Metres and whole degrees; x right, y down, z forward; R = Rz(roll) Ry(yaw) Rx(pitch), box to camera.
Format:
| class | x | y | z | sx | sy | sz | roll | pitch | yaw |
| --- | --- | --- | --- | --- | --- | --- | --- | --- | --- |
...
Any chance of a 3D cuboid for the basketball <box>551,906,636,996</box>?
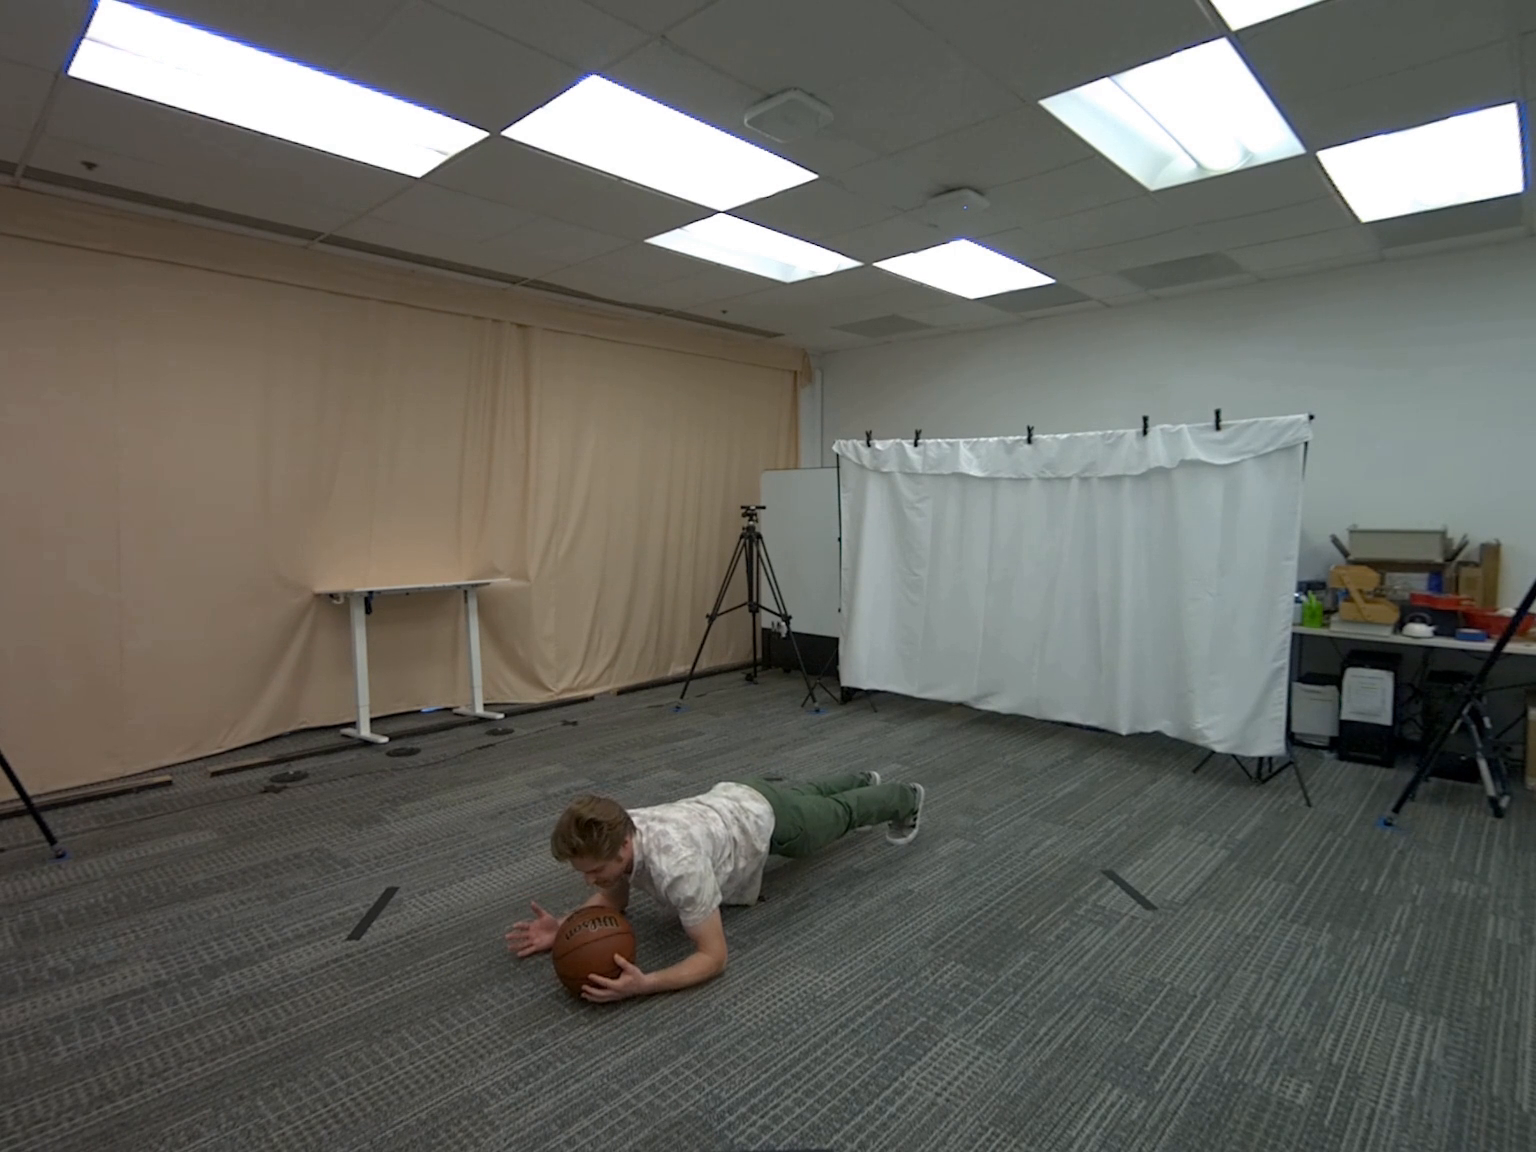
| class | x | y | z | sx | sy | sz | roll | pitch | yaw |
| --- | --- | --- | --- | --- | --- | --- | --- | --- | --- |
| basketball | -0.502 | 1.070 | 2.424 | 0.236 | 0.235 | 0.237 | 0 | 4 | -2 |
